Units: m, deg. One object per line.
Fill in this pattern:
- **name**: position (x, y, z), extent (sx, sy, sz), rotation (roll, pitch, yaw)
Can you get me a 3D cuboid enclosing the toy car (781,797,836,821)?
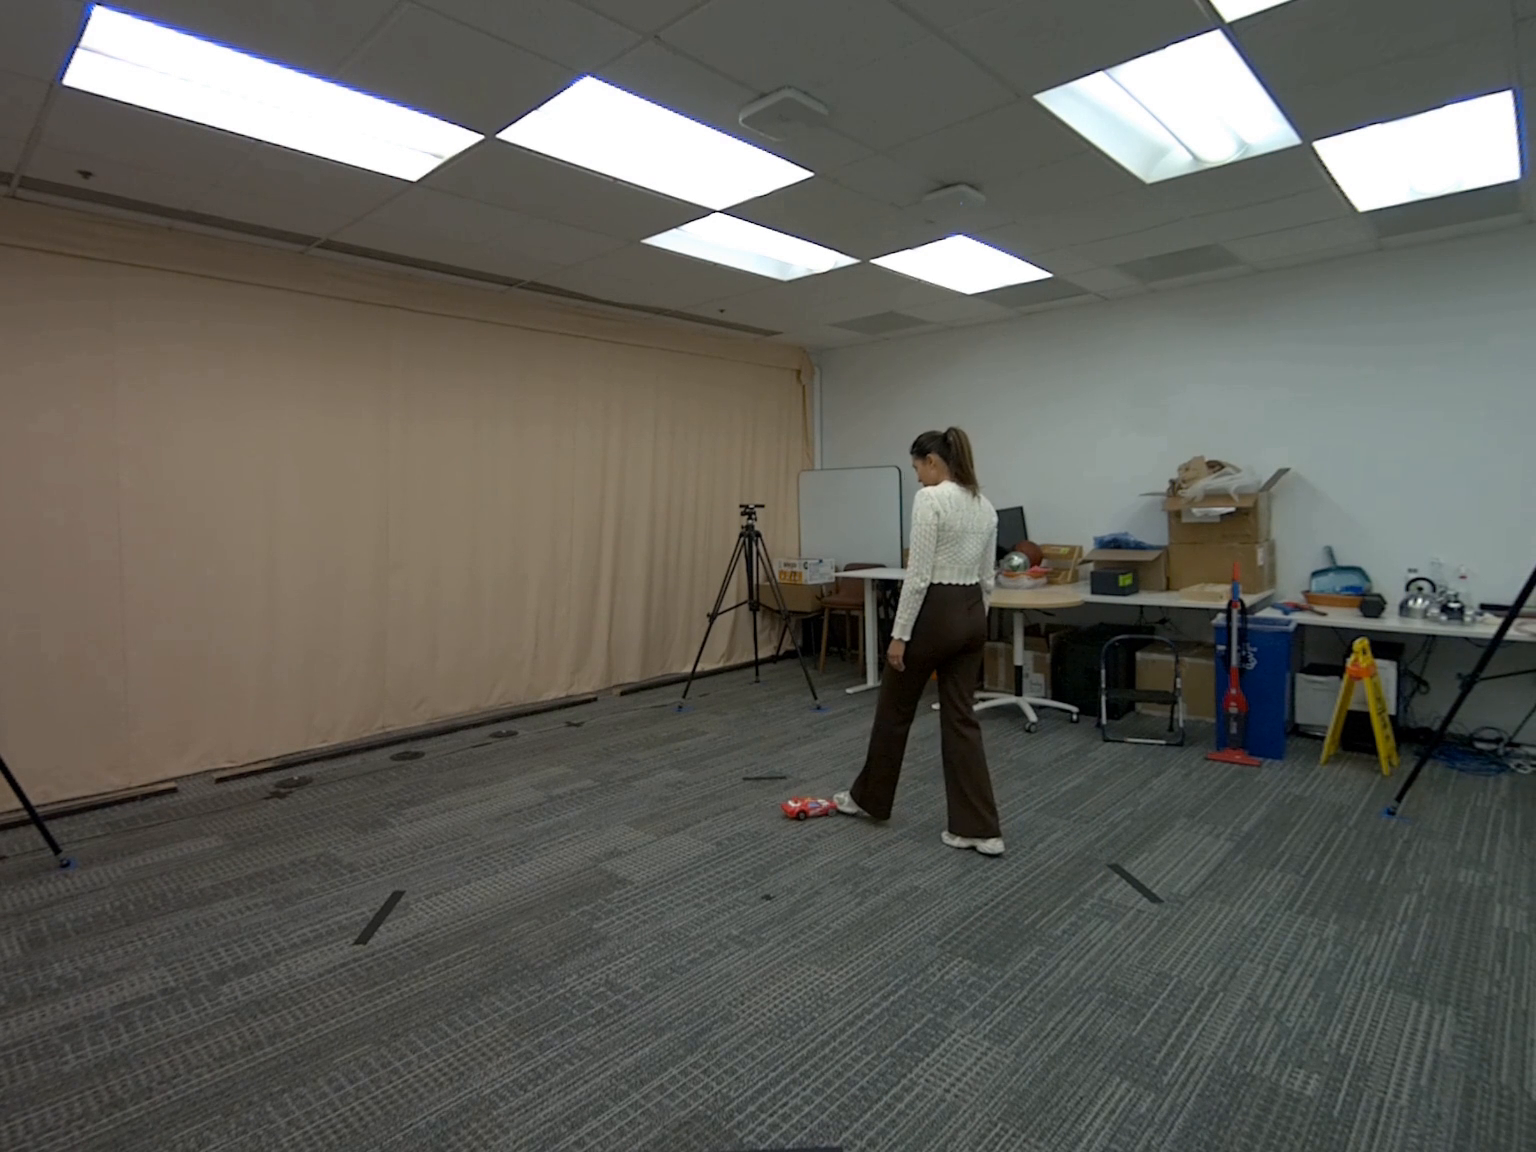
- **toy car**: position (0.180, 1.042, 3.773), extent (0.249, 0.083, 0.133), rotation (10, 2, -18)
